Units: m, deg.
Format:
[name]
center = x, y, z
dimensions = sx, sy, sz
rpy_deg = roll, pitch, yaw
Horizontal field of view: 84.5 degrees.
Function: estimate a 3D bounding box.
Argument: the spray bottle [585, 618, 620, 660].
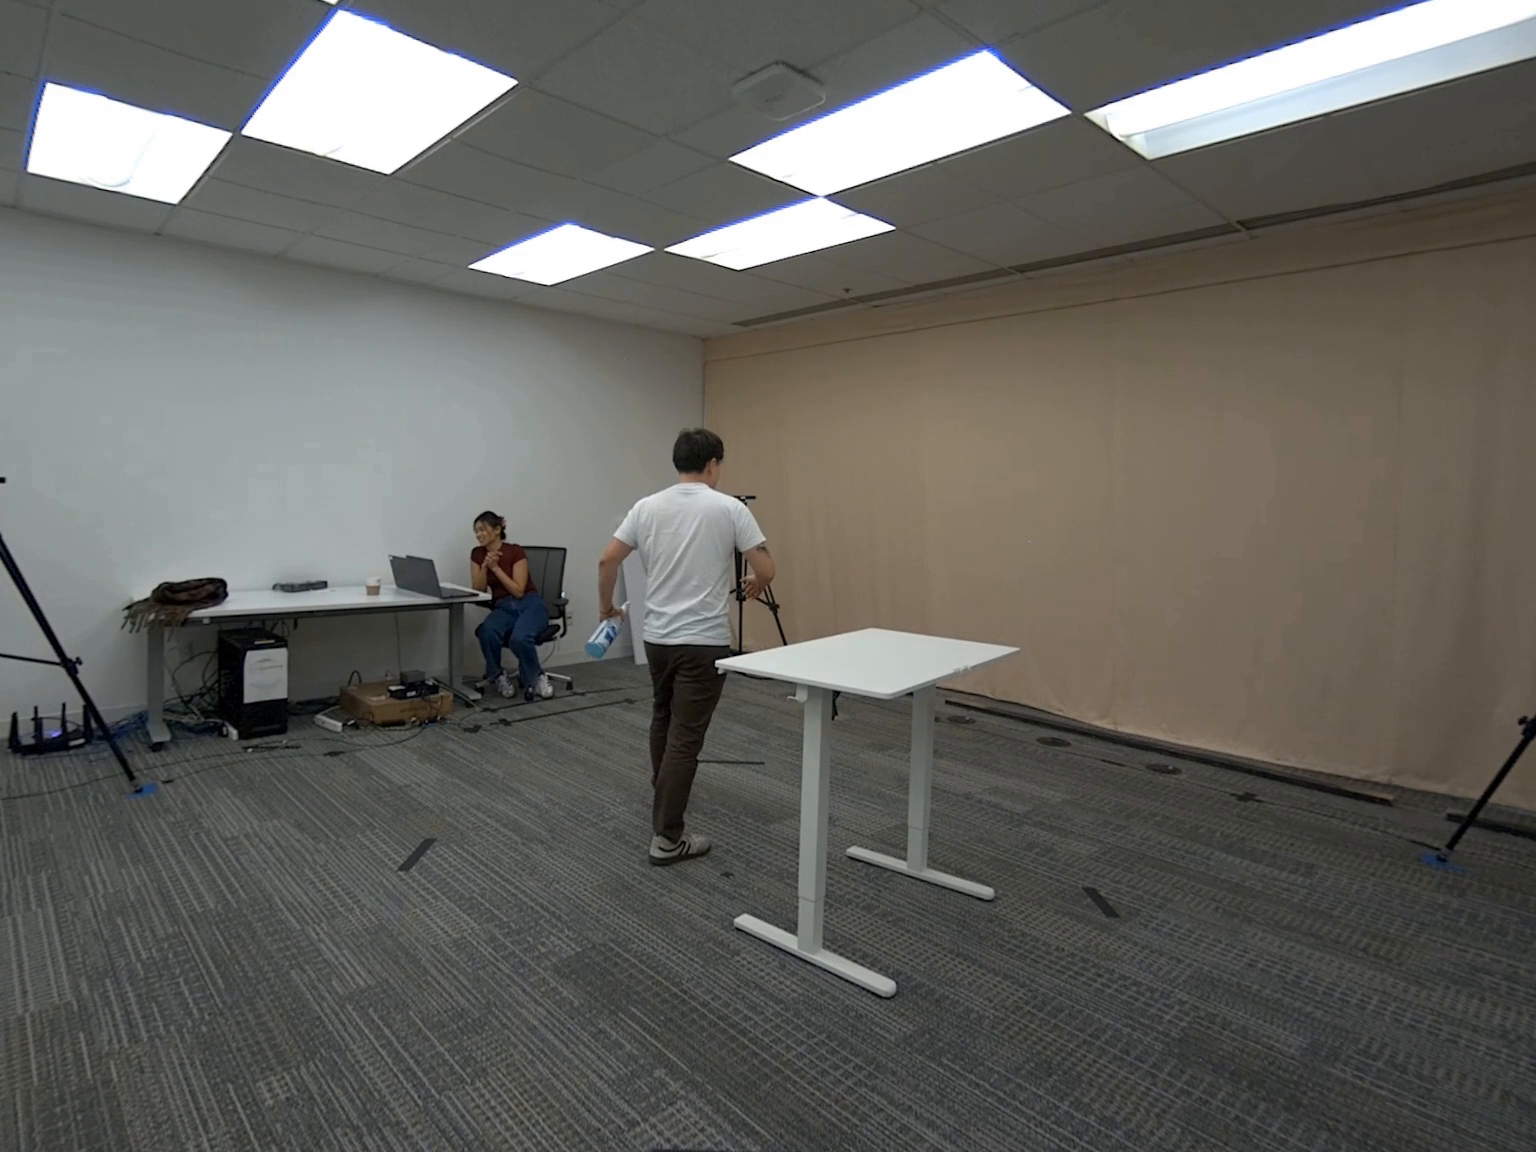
[spray bottle]
center = -0.657, 0.217, 3.530
dimensions = 0.088, 0.088, 0.299
rpy_deg = 14, 45, 19
